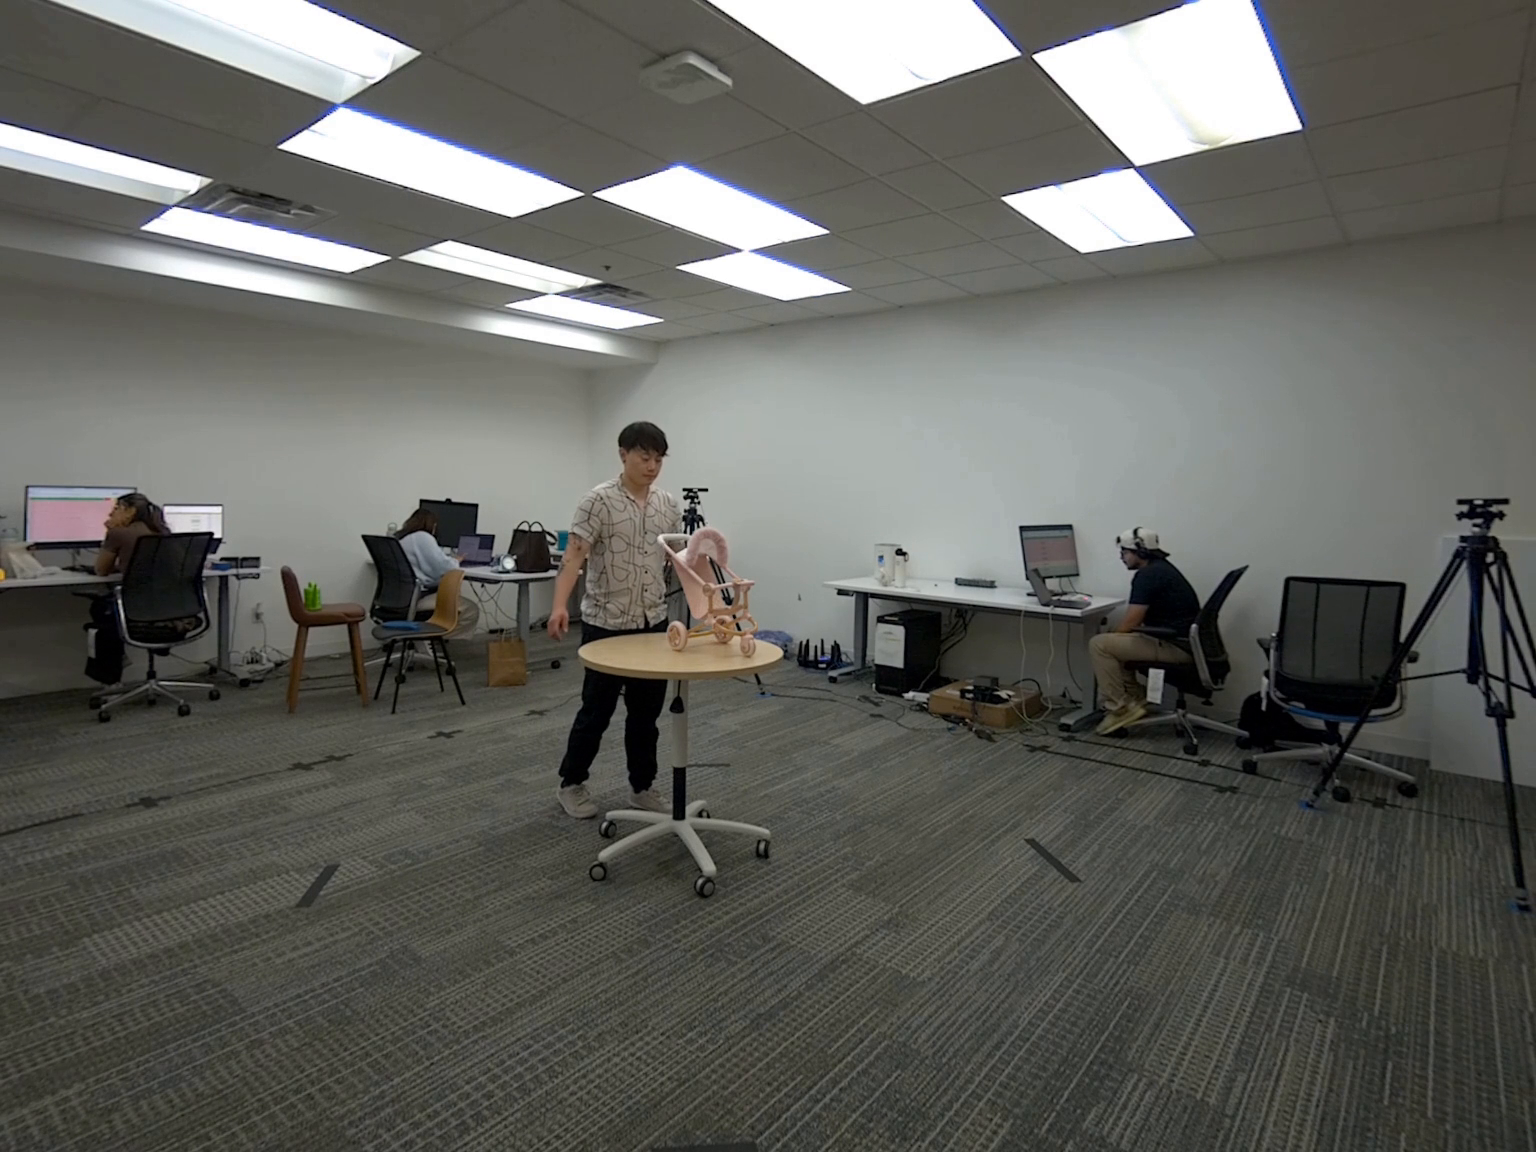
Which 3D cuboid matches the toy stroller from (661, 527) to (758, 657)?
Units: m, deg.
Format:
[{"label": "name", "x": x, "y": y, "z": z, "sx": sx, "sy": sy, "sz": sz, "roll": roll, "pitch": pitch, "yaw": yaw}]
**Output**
[{"label": "toy stroller", "x": -0.221, "y": 0.052, "z": 3.214, "sx": 0.273, "sy": 0.541, "sz": 0.348, "roll": -2, "pitch": -12, "yaw": -43}]
